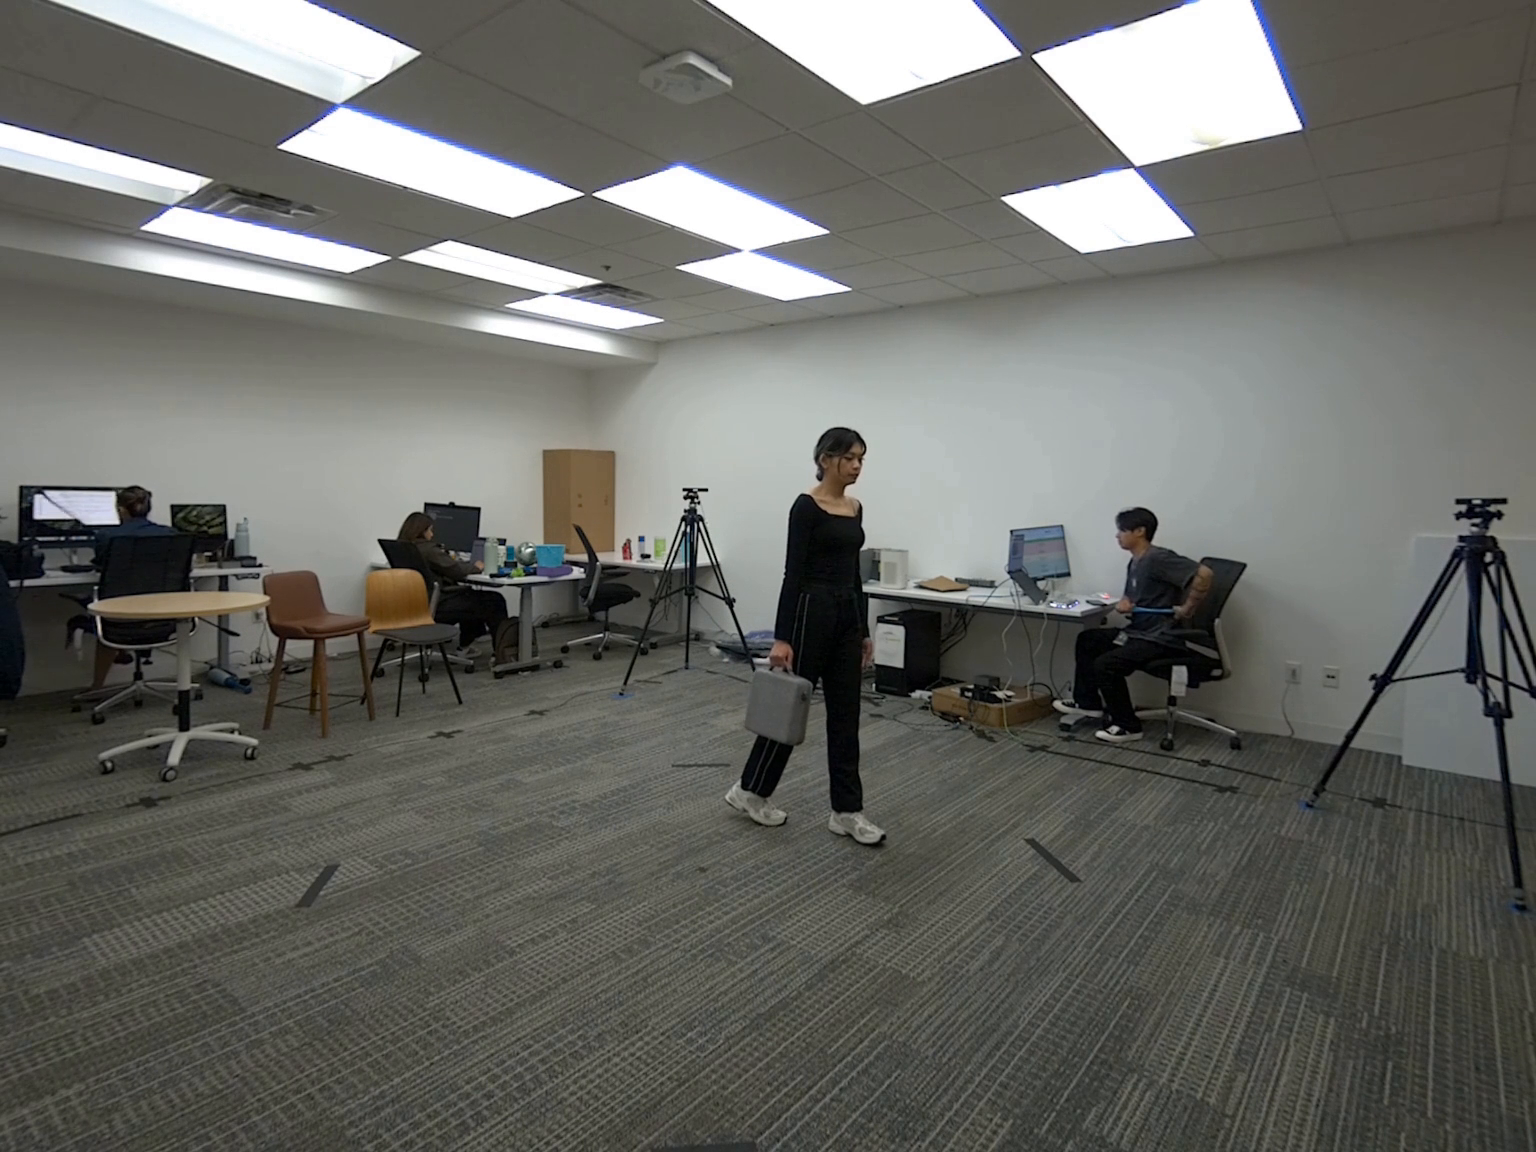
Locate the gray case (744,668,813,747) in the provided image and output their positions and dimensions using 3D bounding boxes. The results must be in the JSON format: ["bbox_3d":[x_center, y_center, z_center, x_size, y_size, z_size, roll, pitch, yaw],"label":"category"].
[{"bbox_3d":[0.041,0.495,3.306,0.100,0.261,0.266,10,-2,-42],"label":"gray case"}]
